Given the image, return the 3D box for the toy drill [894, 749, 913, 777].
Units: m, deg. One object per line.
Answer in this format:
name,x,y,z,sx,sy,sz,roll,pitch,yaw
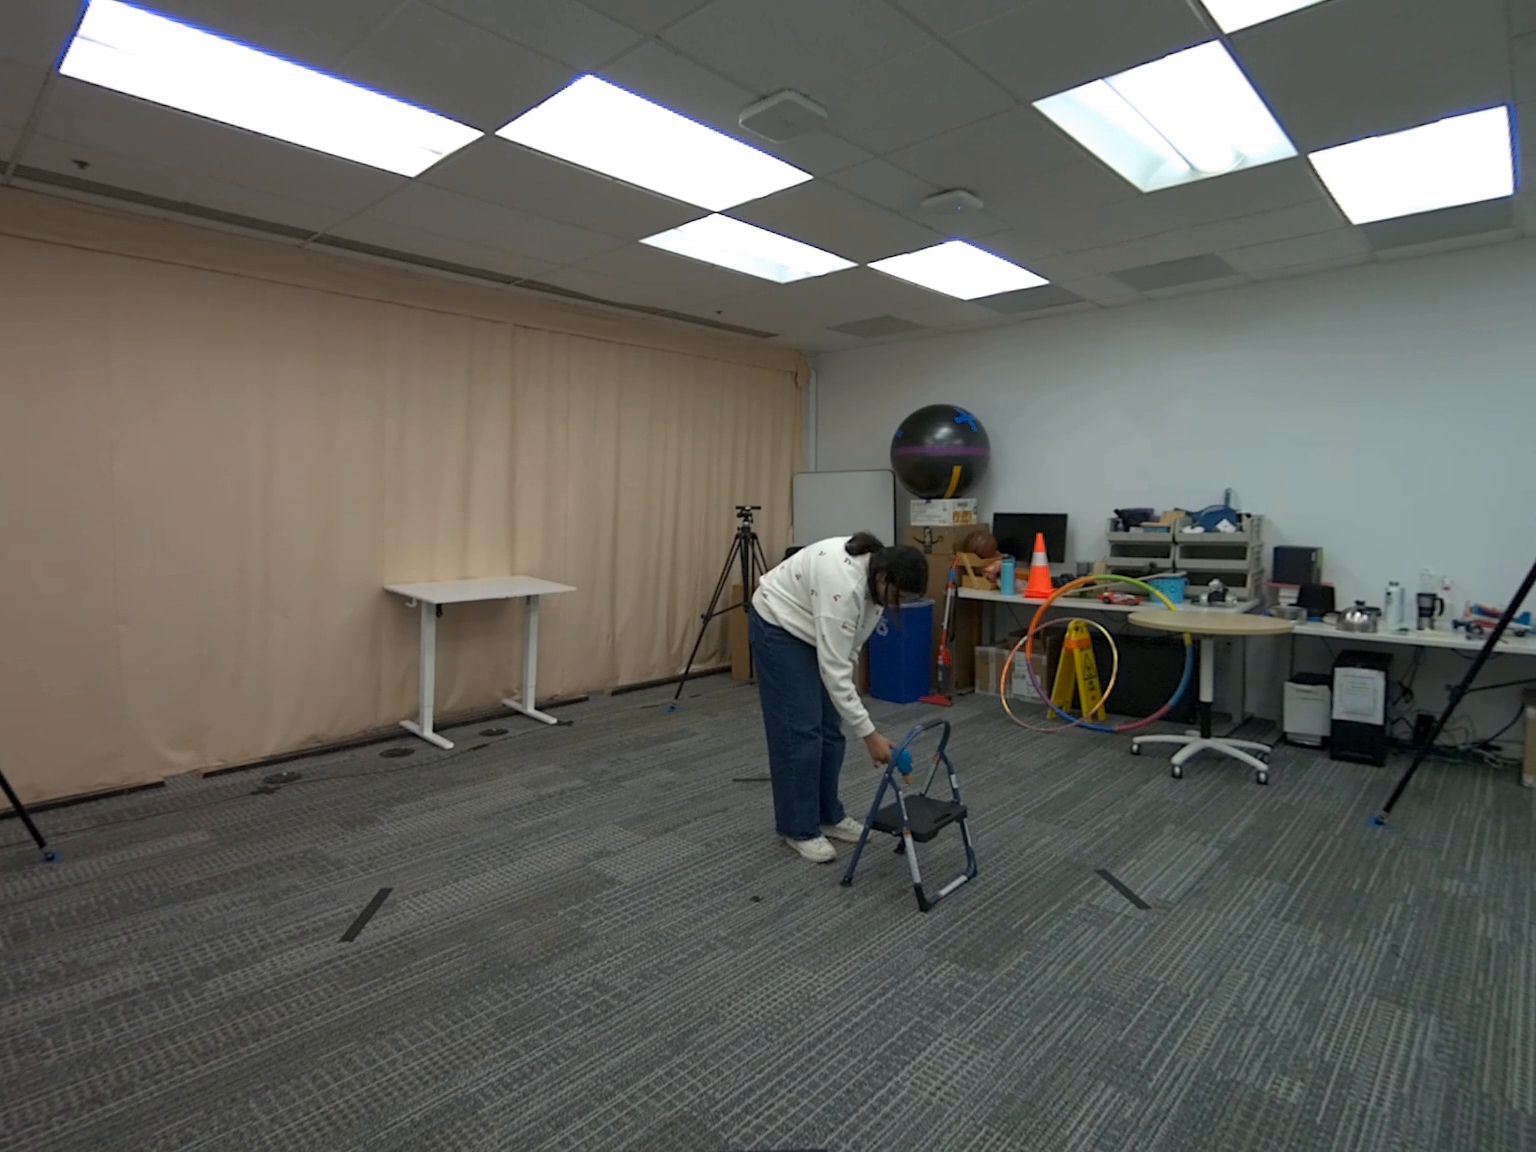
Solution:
toy drill,0.482,0.715,3.154,0.149,0.167,0.060,1,19,22
